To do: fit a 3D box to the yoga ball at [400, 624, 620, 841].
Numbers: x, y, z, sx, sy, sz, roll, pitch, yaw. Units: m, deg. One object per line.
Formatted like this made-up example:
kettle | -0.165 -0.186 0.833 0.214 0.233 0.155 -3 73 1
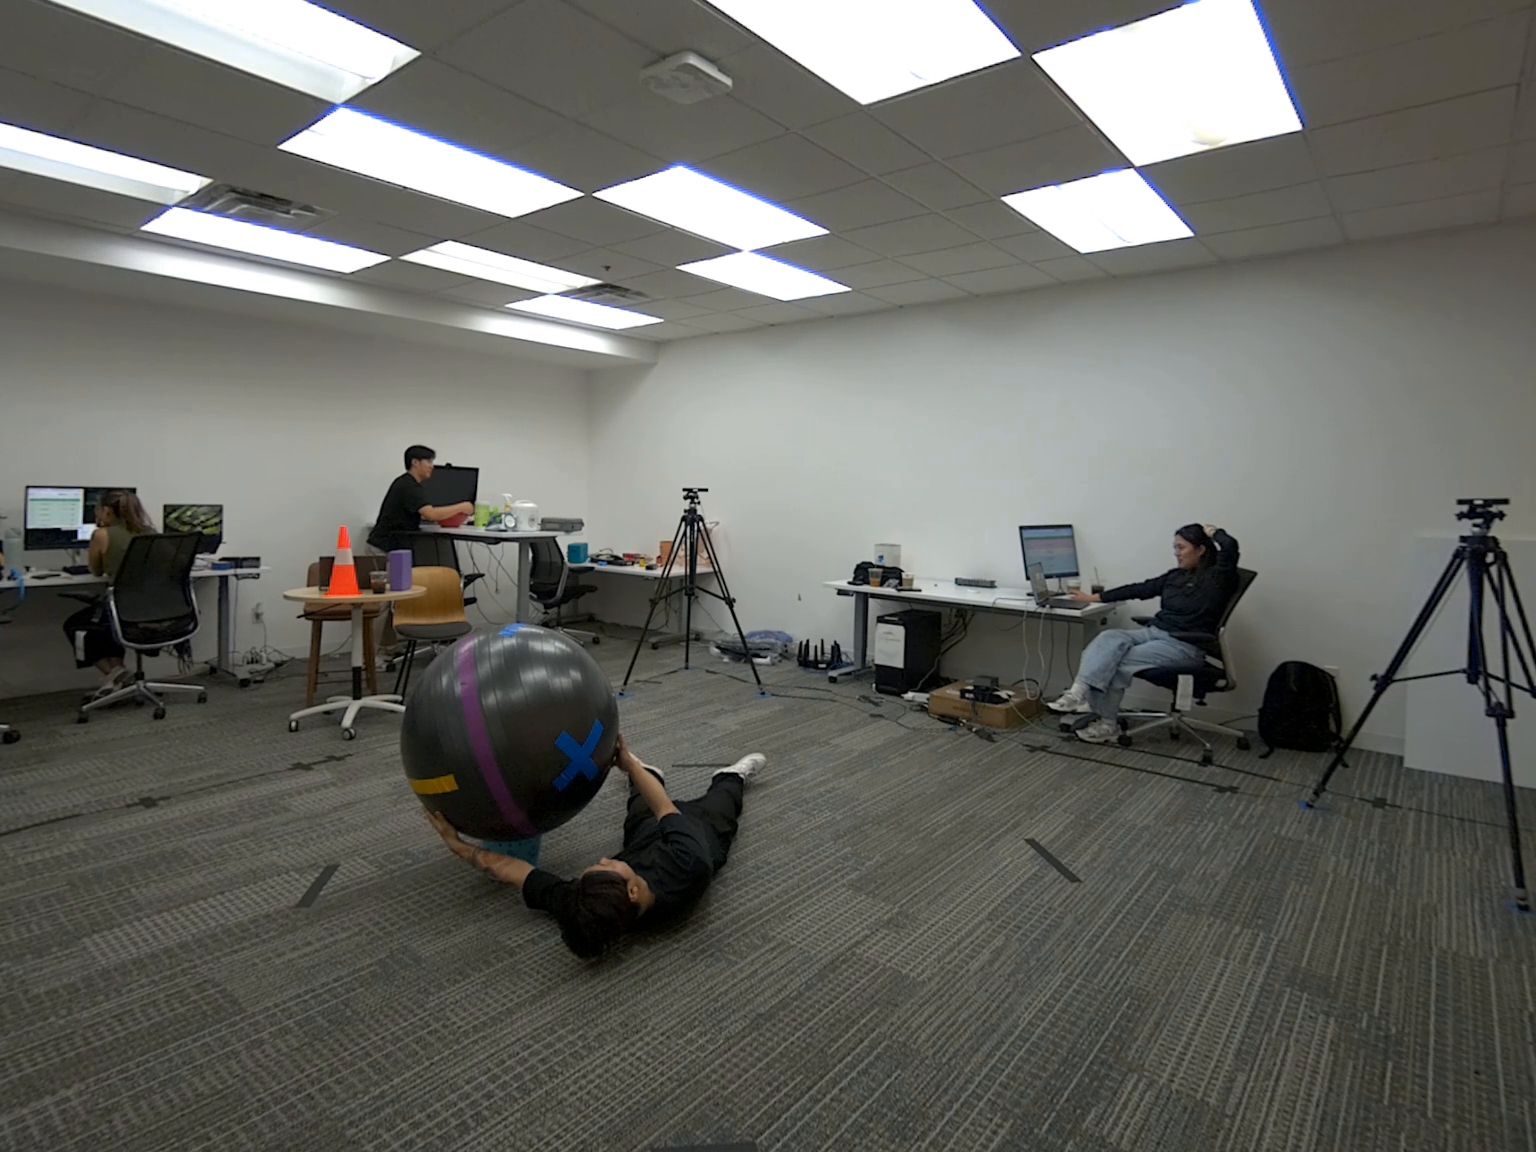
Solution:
yoga ball | -0.927 0.556 3.054 0.757 0.755 0.762 1 4 -2
